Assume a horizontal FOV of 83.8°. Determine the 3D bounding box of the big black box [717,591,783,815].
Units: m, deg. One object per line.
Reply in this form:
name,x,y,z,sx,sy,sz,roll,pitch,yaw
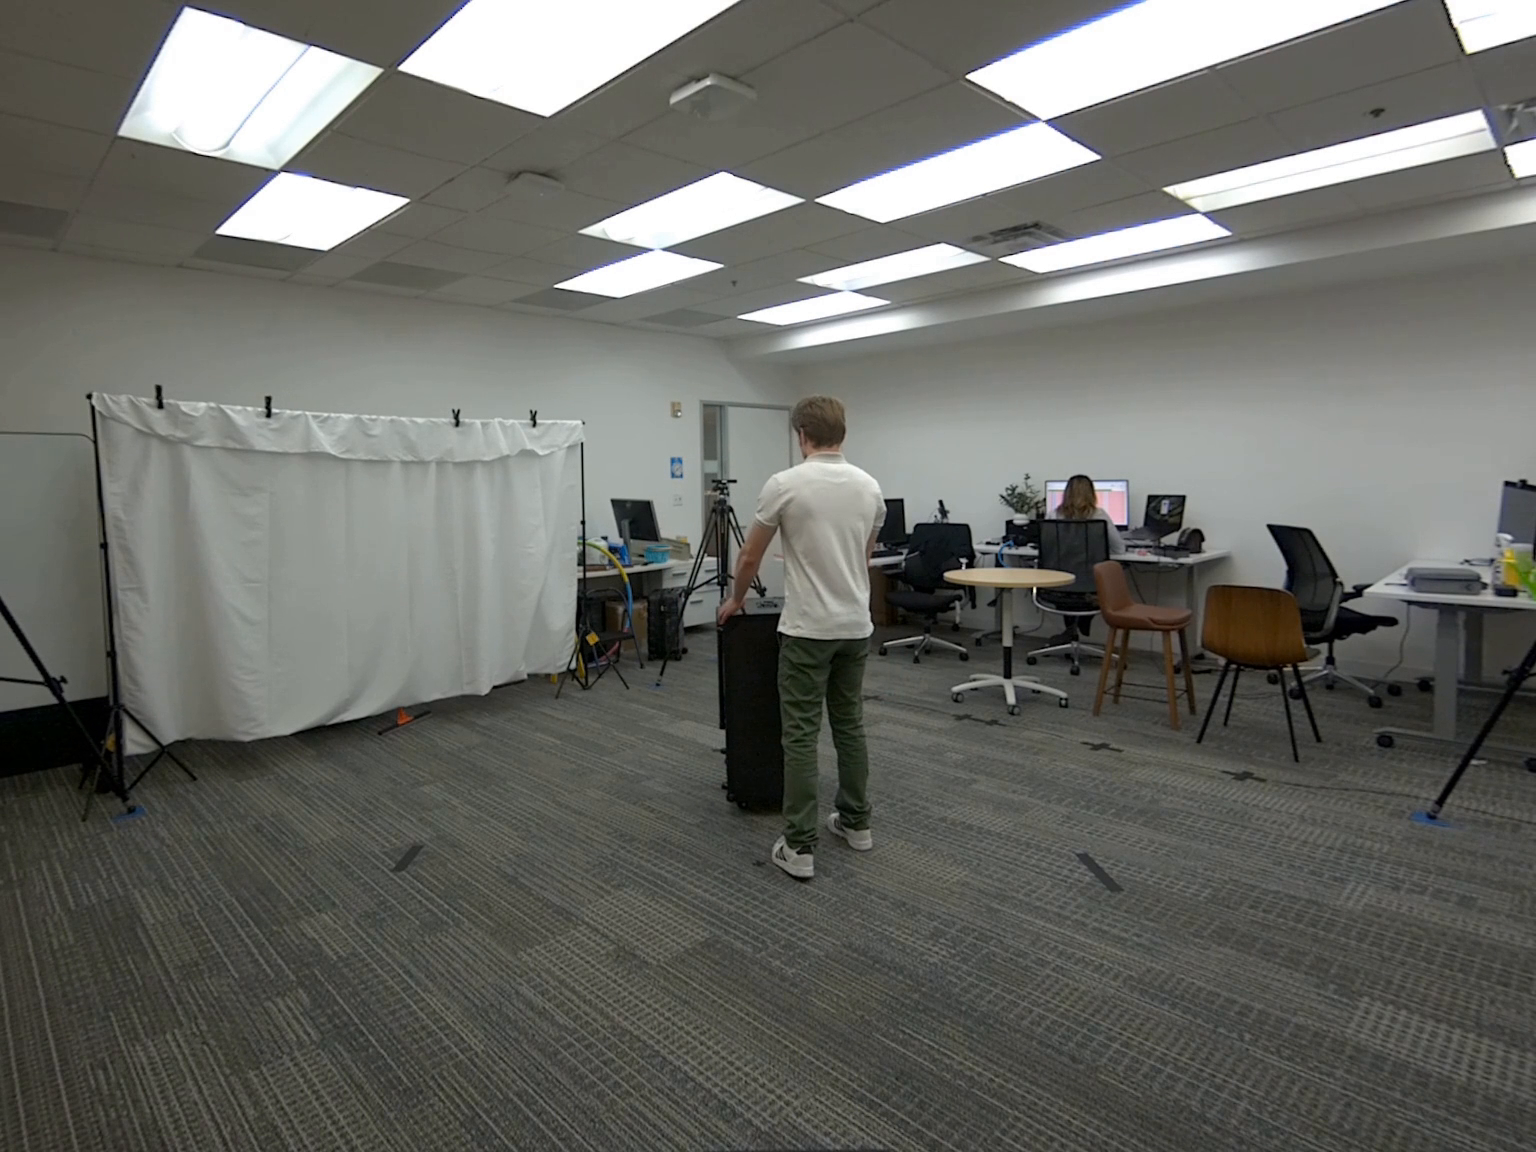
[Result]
big black box,-0.010,0.555,3.748,0.385,0.866,0.525,-1,4,-1
